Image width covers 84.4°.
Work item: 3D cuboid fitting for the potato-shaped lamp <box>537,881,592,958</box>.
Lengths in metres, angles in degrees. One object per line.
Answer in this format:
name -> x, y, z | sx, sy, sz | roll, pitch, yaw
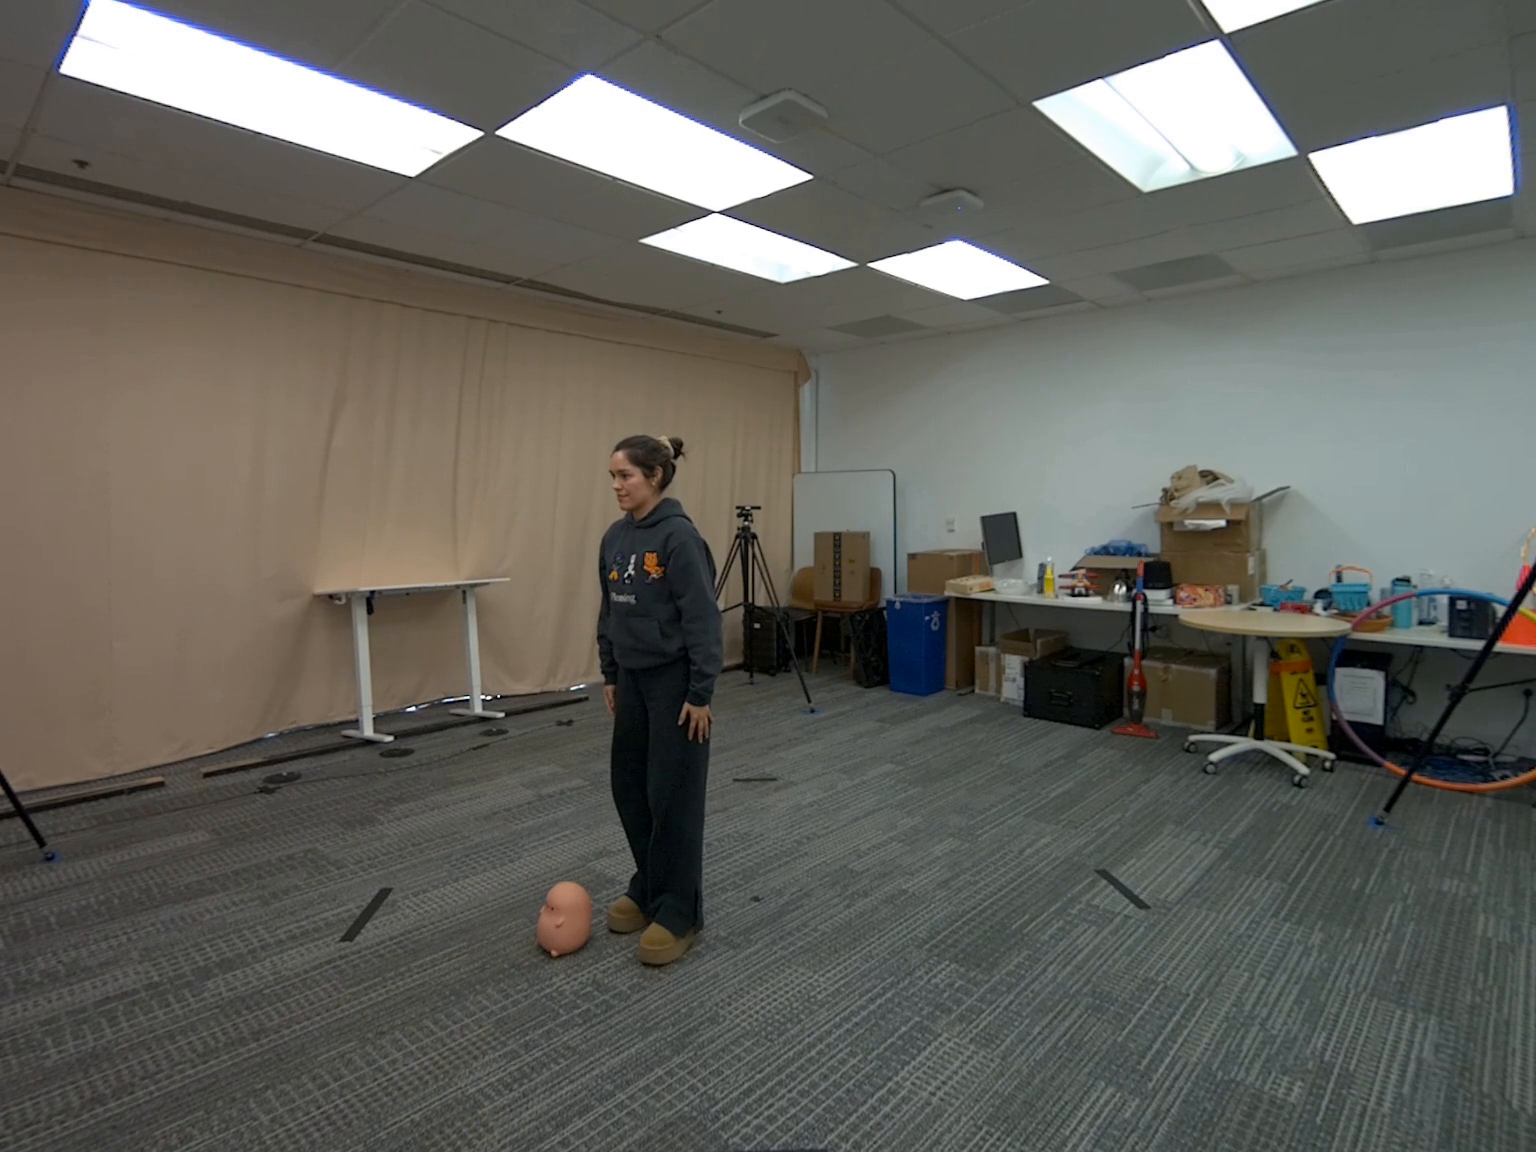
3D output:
potato-shaped lamp -> -0.624, 1.084, 2.670 | 0.166, 0.198, 0.170 | -4, 4, -38
